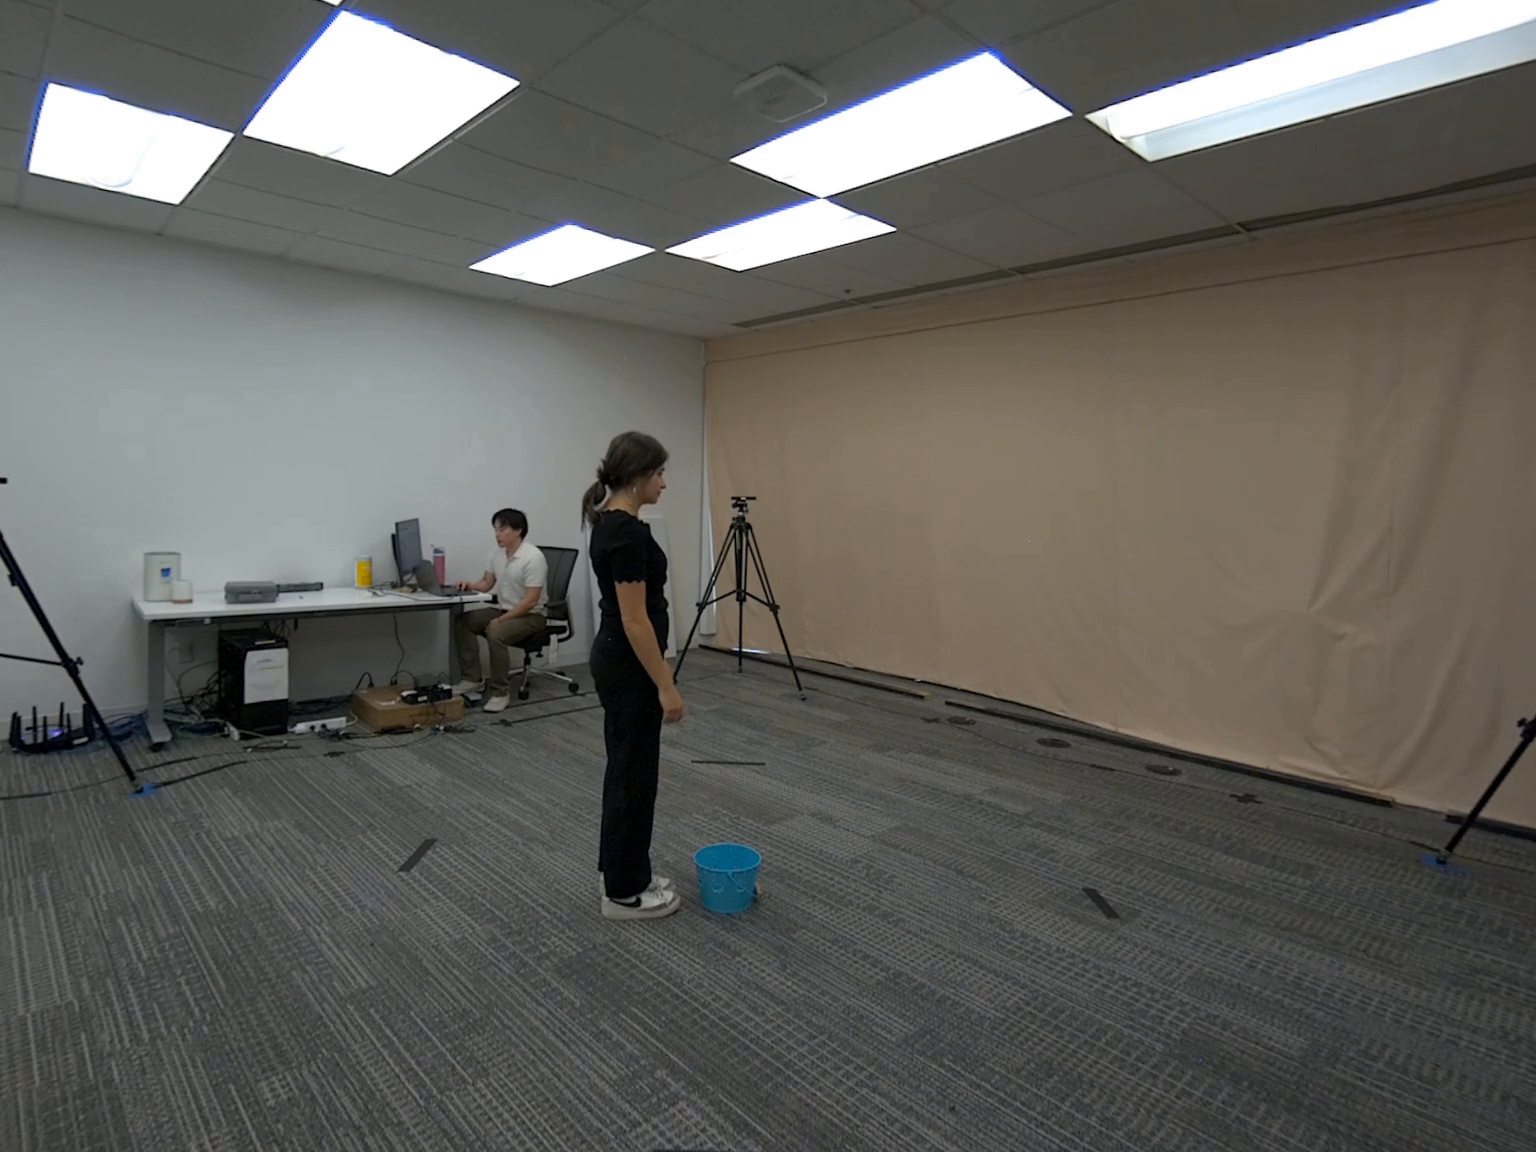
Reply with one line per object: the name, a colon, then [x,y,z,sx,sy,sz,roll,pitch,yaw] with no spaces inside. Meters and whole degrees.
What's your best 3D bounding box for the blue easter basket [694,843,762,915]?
blue easter basket: [-0.146,1.046,2.904,0.243,0.155,0.244,1,5,-1]
